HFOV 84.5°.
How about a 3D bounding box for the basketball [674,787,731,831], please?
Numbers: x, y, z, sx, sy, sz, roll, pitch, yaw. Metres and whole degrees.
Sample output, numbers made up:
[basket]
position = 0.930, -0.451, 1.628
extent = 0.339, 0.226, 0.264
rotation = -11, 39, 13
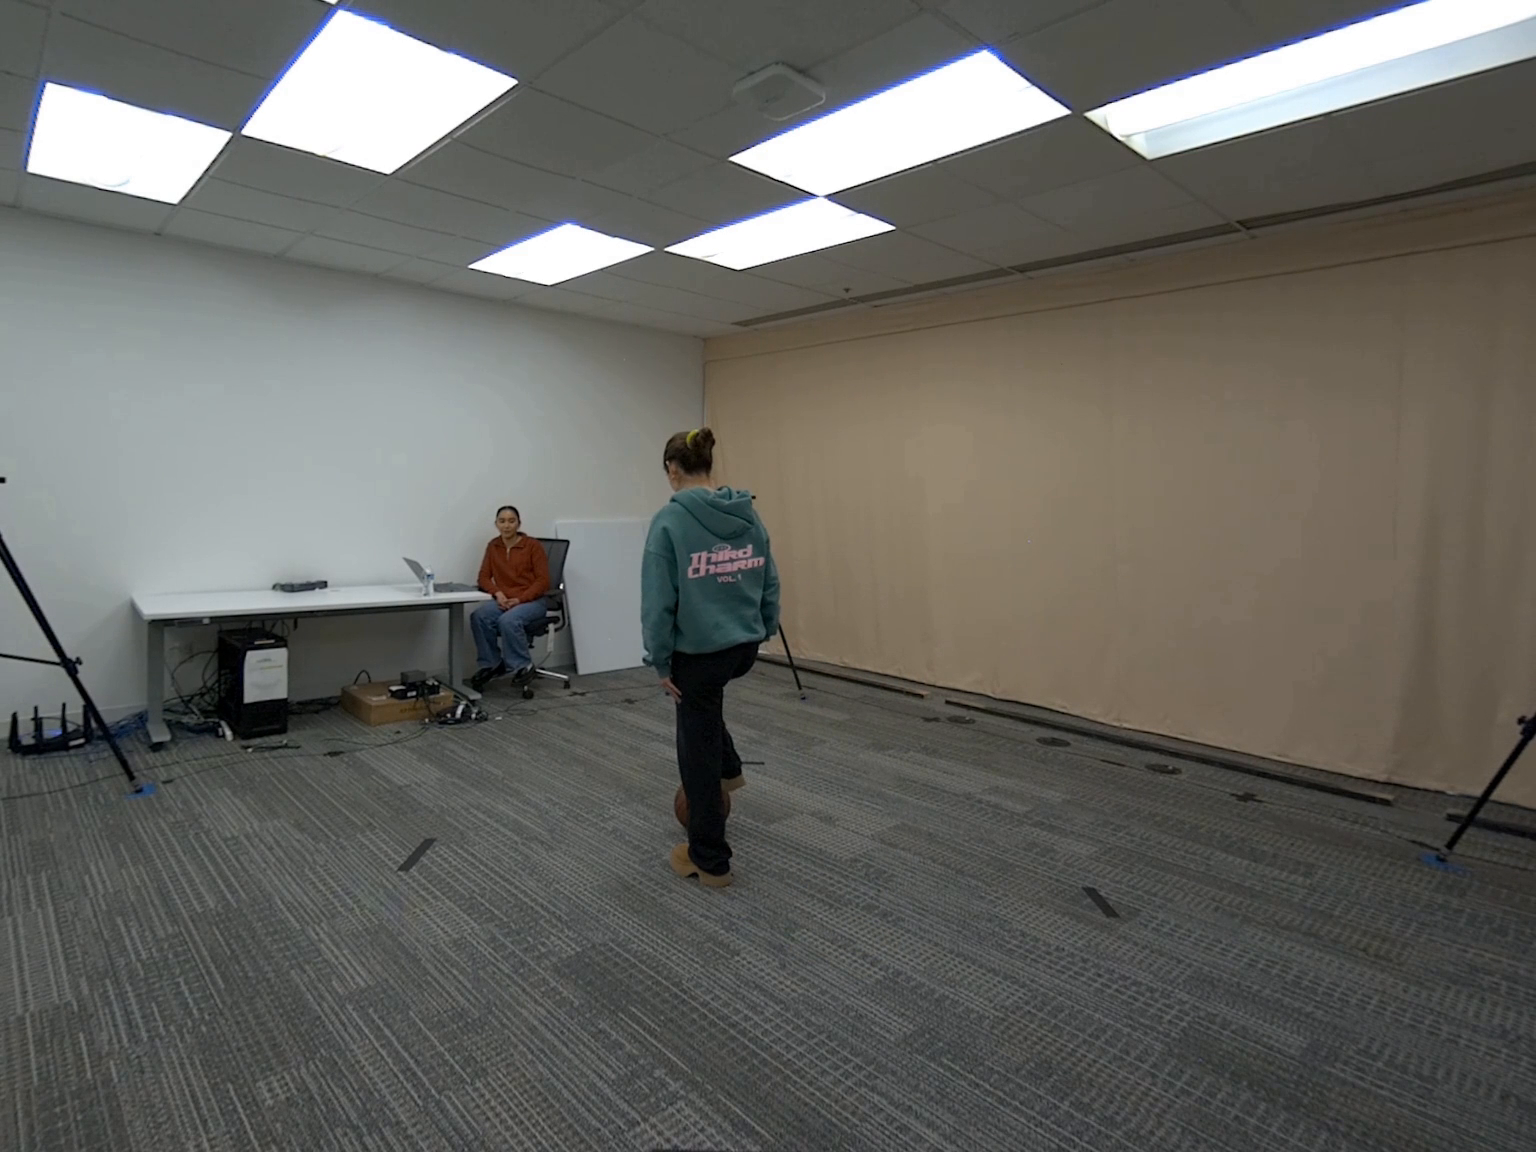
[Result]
[basketball]
position = -0.282, 0.949, 3.490
extent = 0.236, 0.235, 0.237
rotation = 1, 4, -1
